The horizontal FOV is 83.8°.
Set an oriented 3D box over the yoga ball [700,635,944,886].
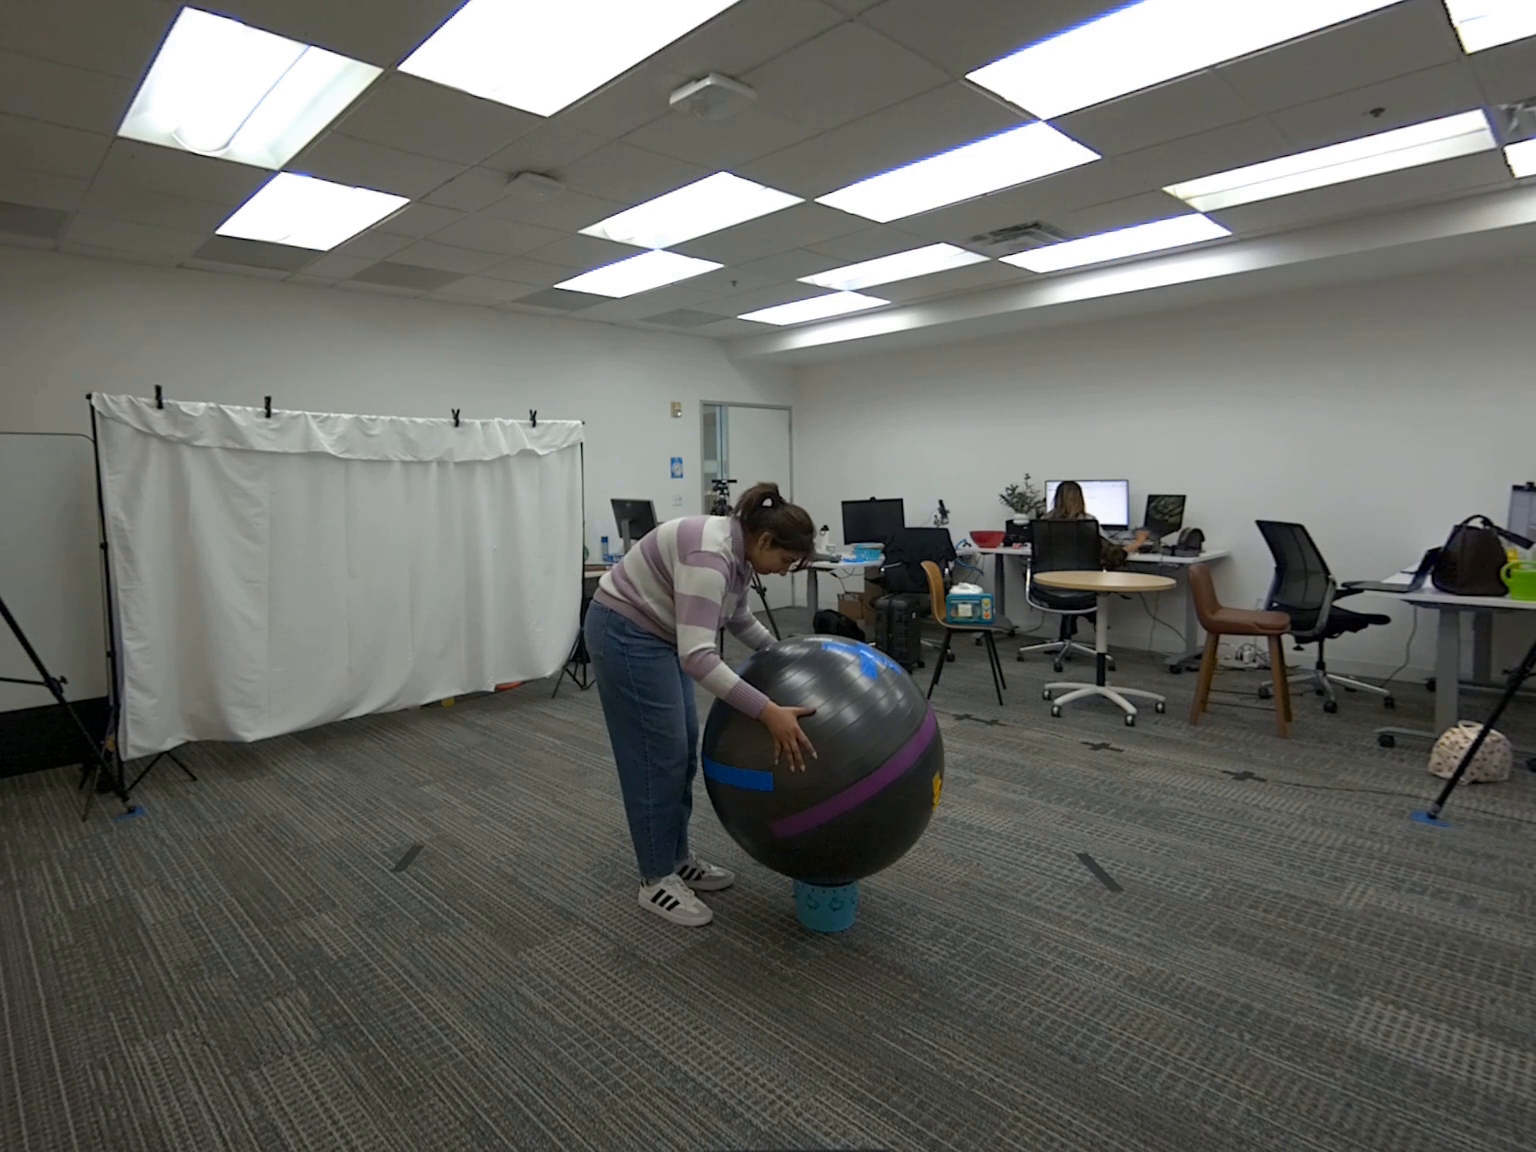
[{"bbox_3d":[0.176,0.574,2.700,0.757,0.755,0.762,-1,5,-2],"label":"yoga ball"}]
